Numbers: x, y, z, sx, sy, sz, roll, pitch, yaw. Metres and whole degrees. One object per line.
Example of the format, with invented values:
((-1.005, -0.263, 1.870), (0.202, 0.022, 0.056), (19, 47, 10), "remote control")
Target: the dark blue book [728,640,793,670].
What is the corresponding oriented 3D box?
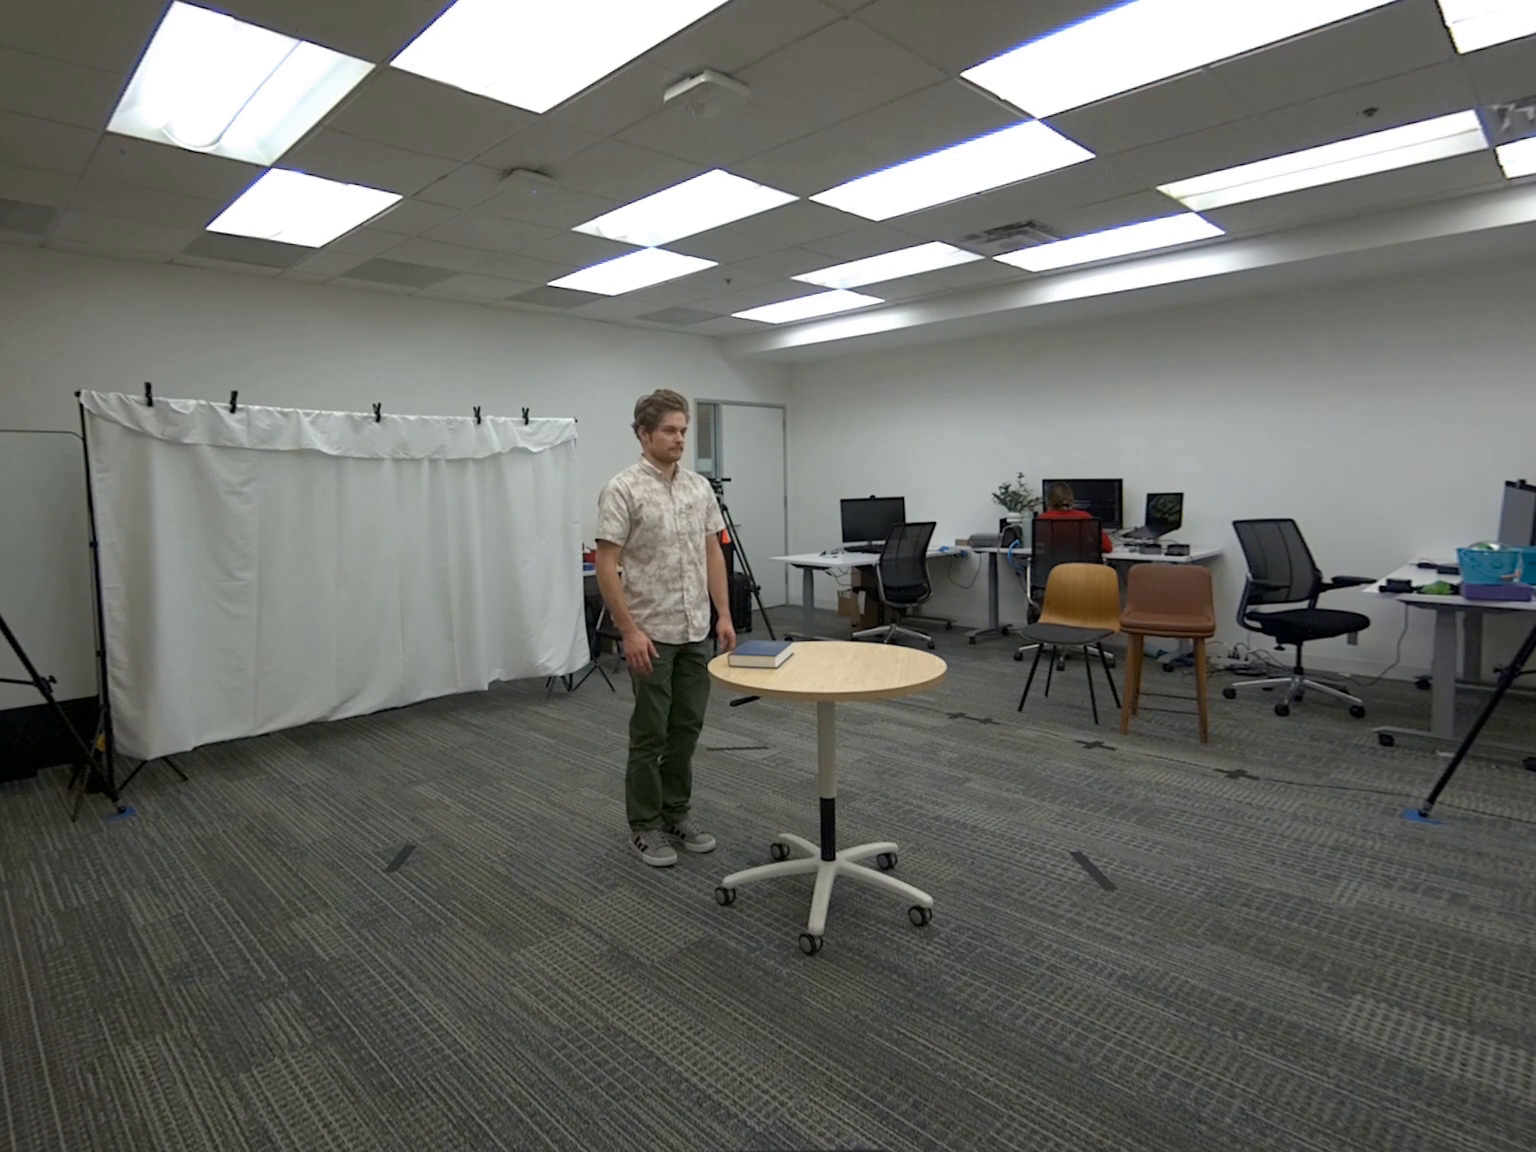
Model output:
((-0.017, 0.260, 2.853), (0.166, 0.045, 0.242), (0, 6, 15), "dark blue book")
